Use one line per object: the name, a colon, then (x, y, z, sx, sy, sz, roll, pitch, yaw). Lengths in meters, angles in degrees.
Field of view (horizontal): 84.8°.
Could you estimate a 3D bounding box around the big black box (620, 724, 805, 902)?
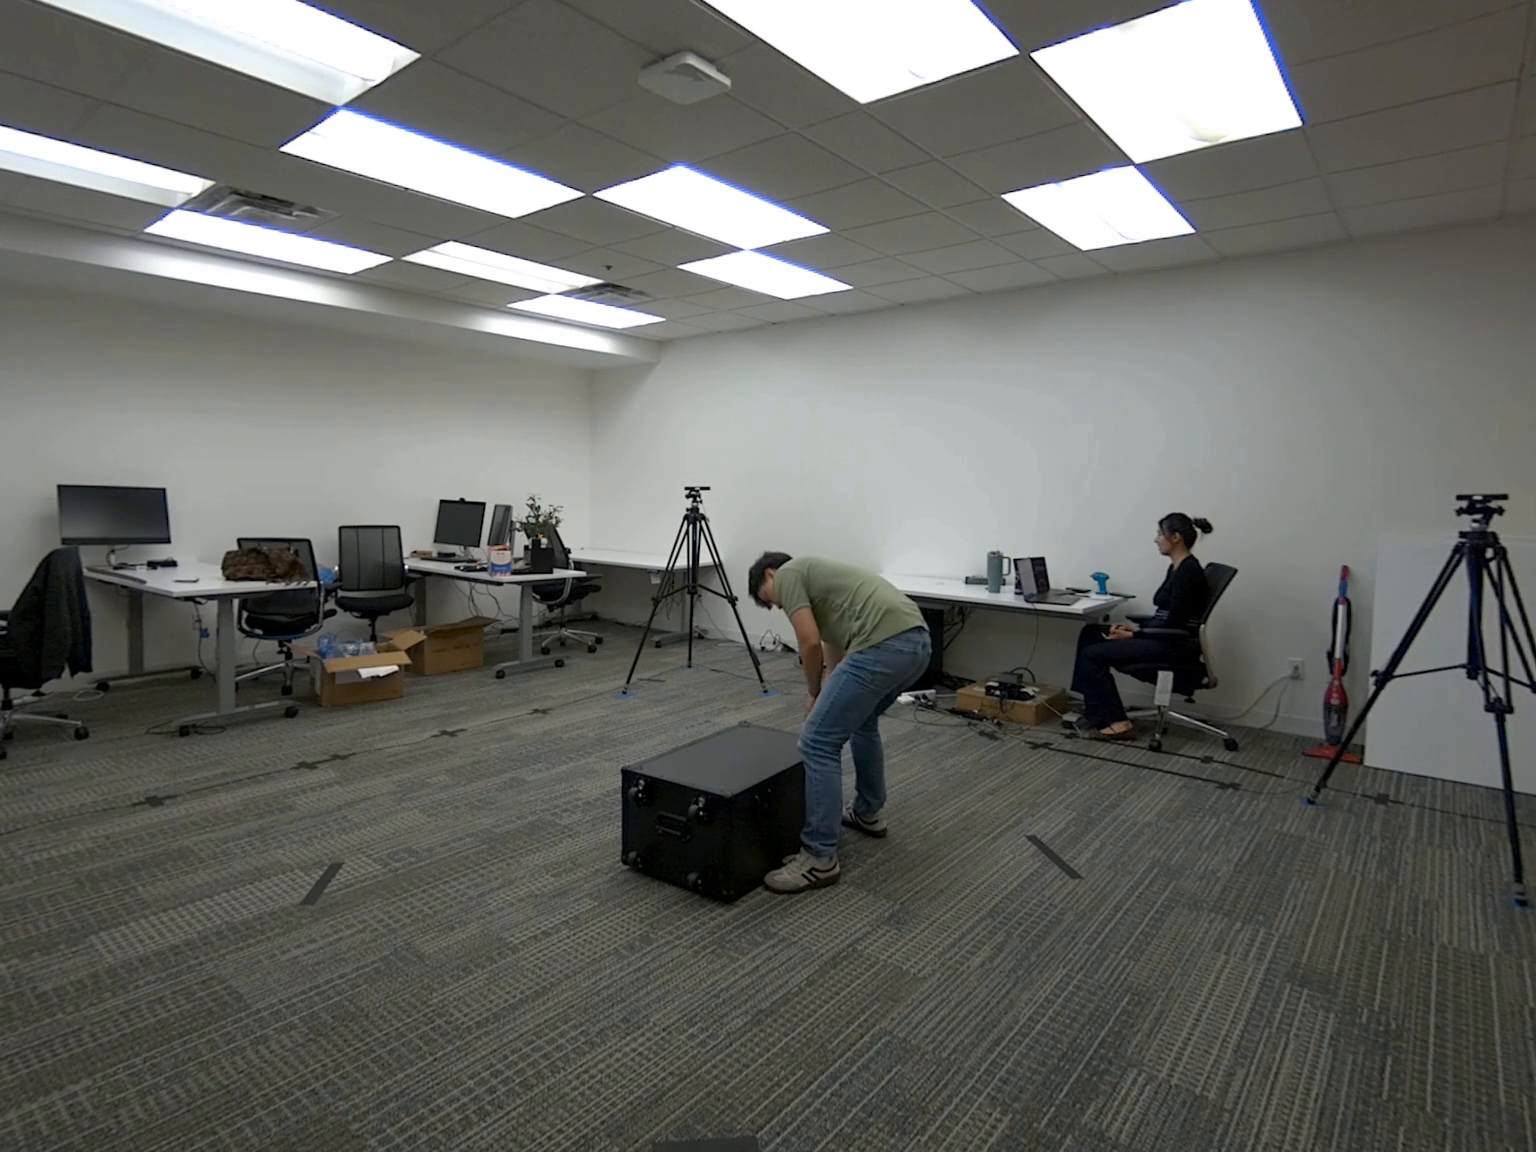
big black box: (-0.154, 0.863, 3.224, 0.537, 0.395, 0.838, 4, 5, 33)
